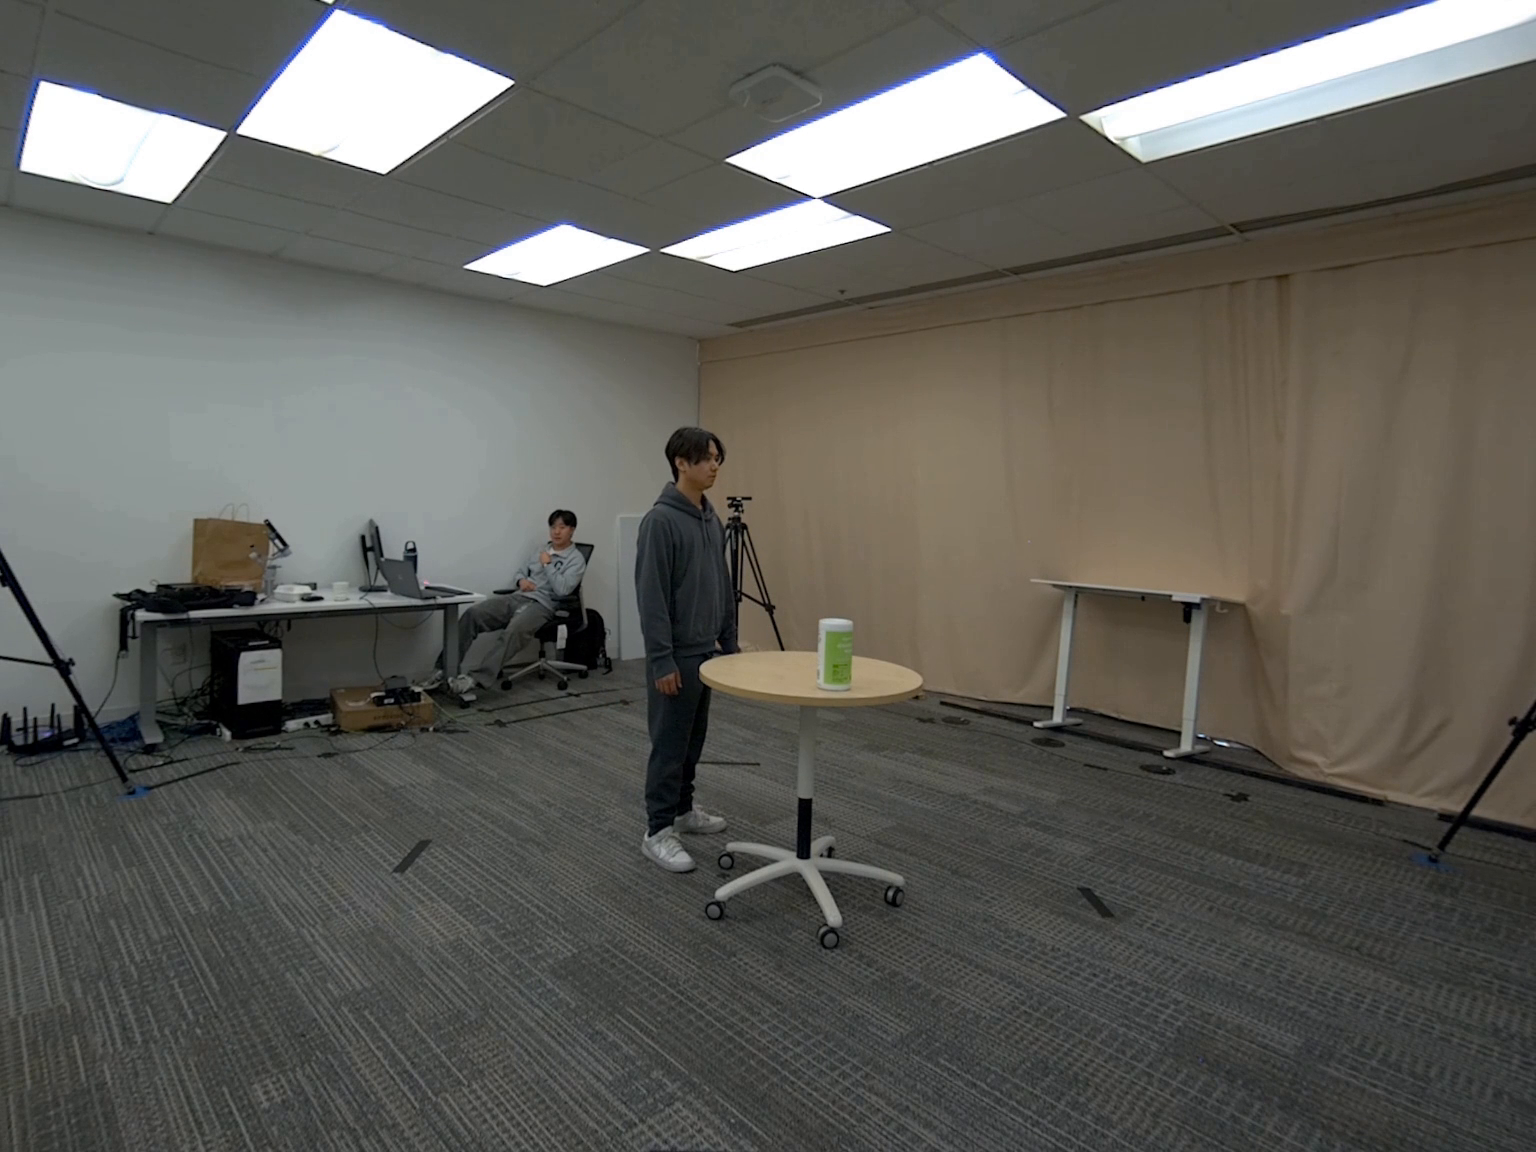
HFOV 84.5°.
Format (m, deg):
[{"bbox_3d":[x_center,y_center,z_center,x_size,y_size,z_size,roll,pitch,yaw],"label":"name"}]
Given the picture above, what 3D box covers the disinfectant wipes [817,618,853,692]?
[{"bbox_3d":[0.207,0.251,2.669,0.118,0.217,0.118,3,3,-2],"label":"disinfectant wipes"}]
